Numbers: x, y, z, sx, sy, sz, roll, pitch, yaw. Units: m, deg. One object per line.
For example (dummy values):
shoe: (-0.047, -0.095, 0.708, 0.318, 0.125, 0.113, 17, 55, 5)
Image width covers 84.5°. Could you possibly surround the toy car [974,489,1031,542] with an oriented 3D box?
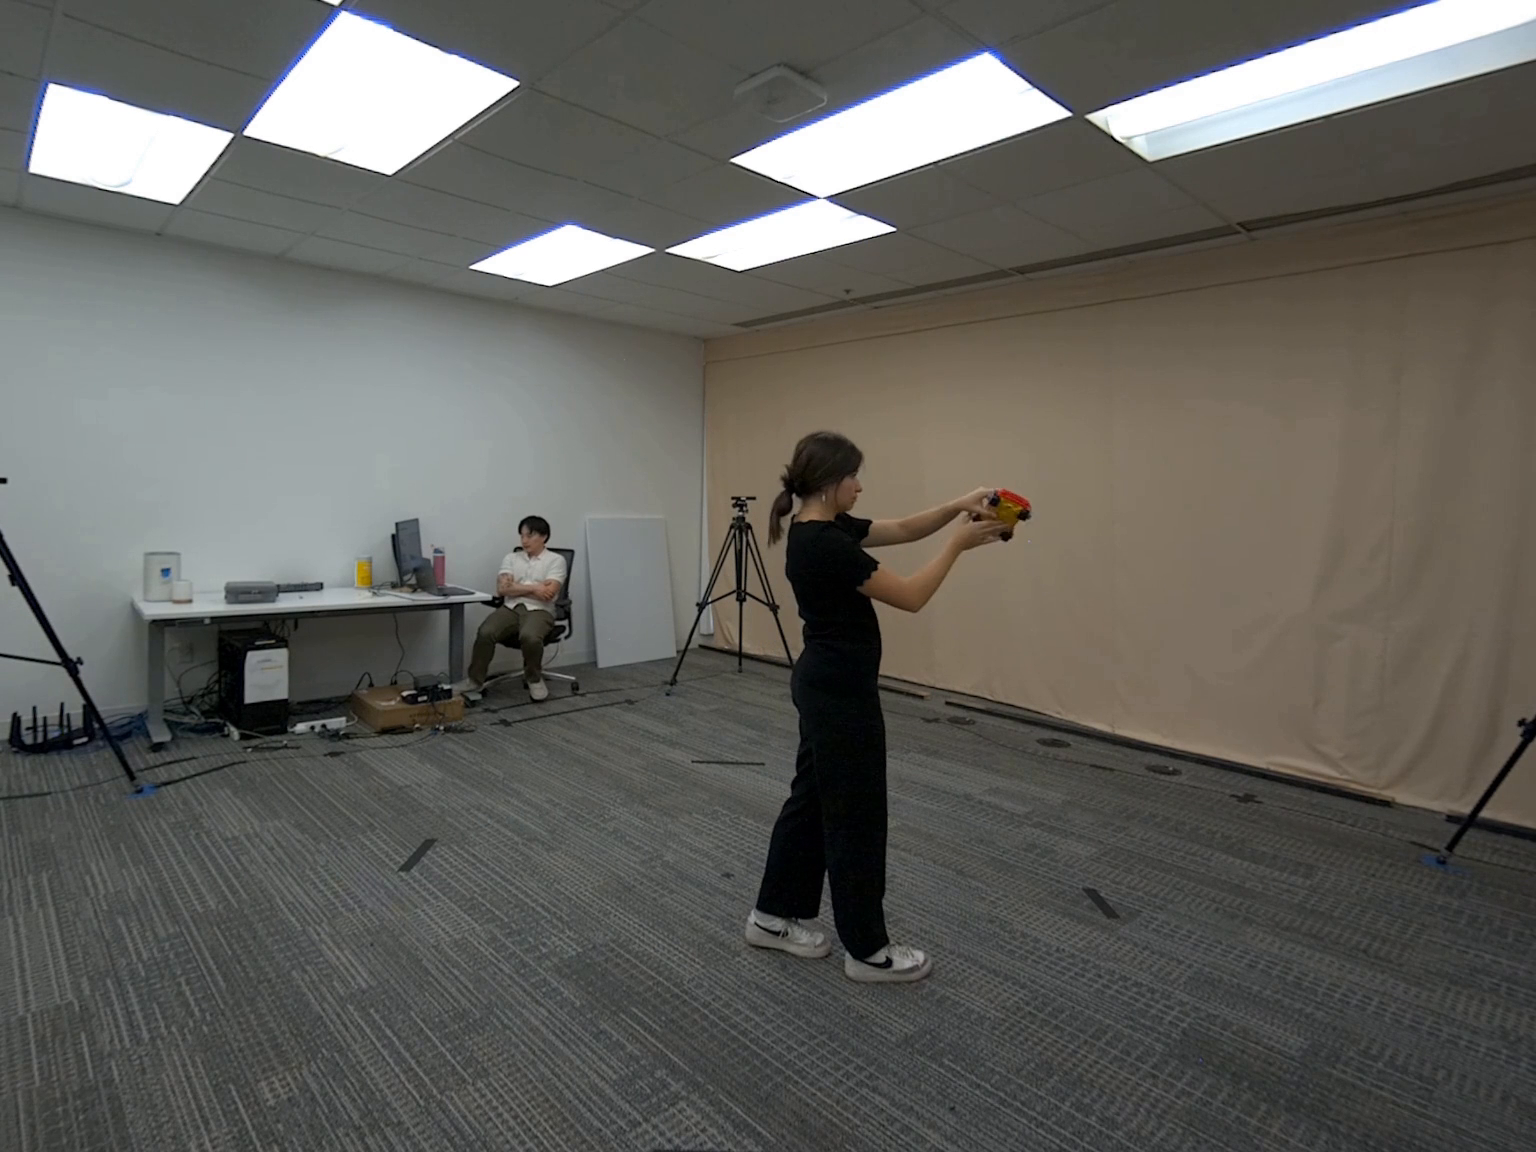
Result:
toy car: (0.662, -0.172, 2.429, 0.131, 0.083, 0.251, 26, -10, 7)
